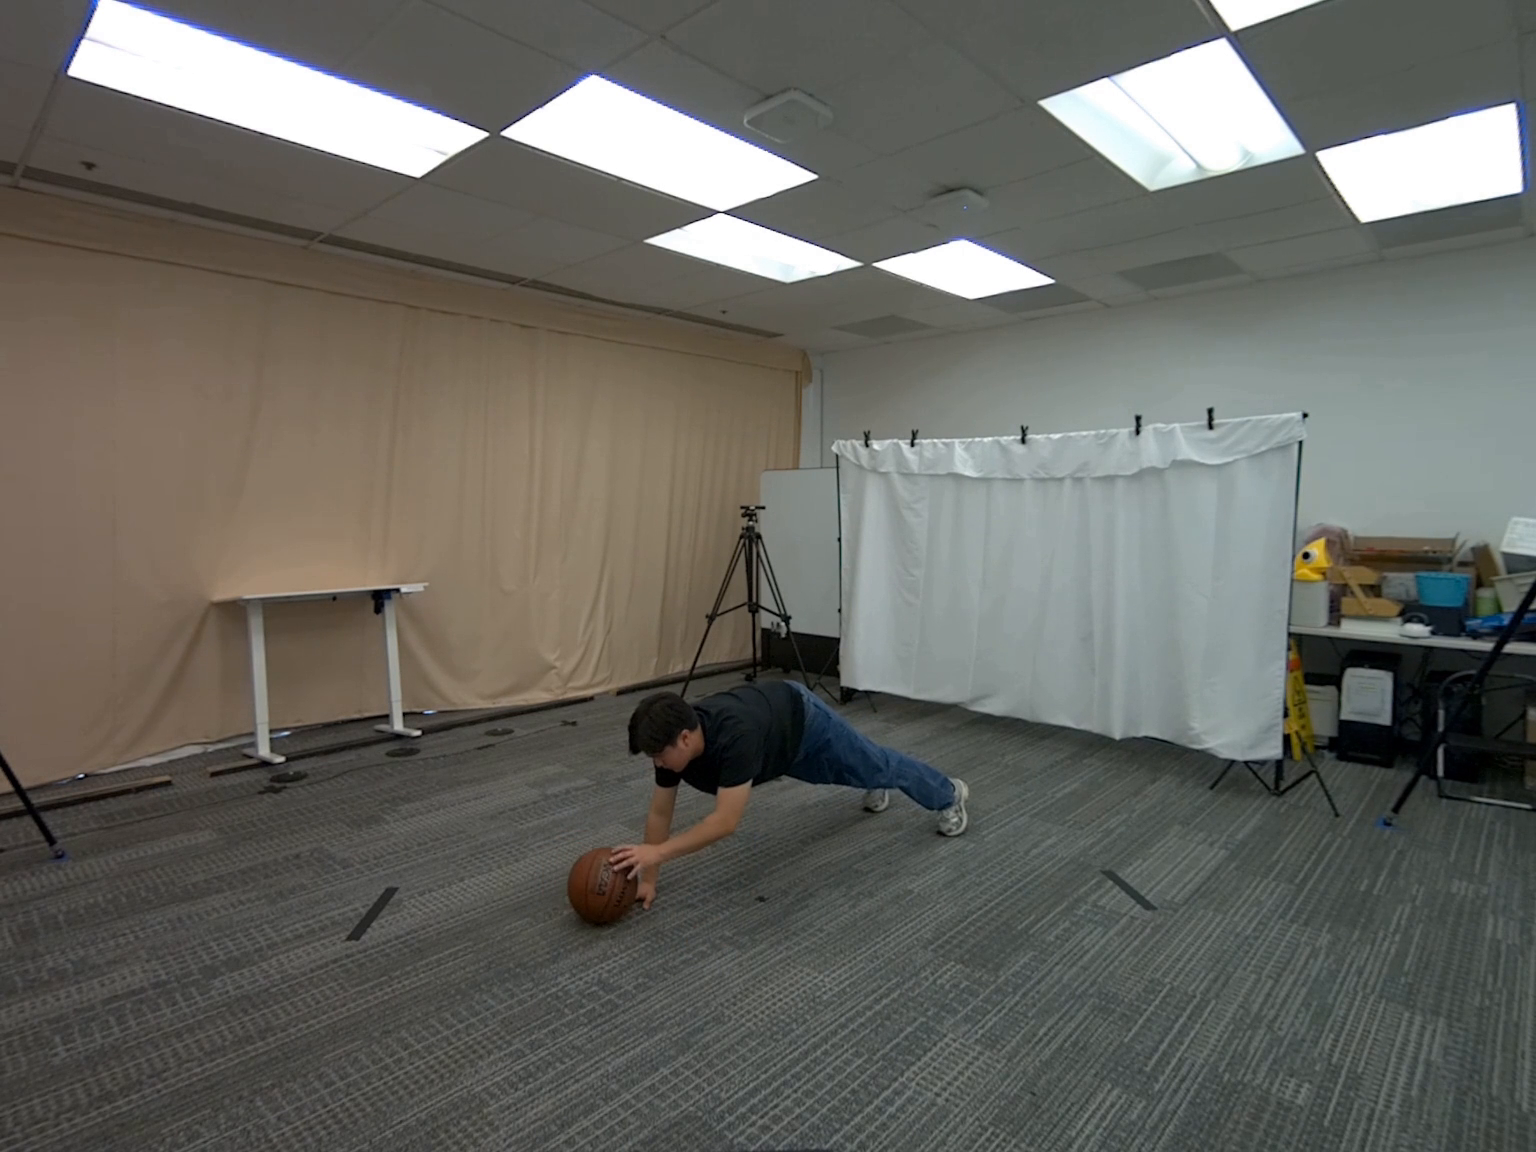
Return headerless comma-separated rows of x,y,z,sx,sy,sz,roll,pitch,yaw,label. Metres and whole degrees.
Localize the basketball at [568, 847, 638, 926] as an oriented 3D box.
-0.557,1.039,2.837,0.236,0.235,0.237,0,4,-2,basketball
